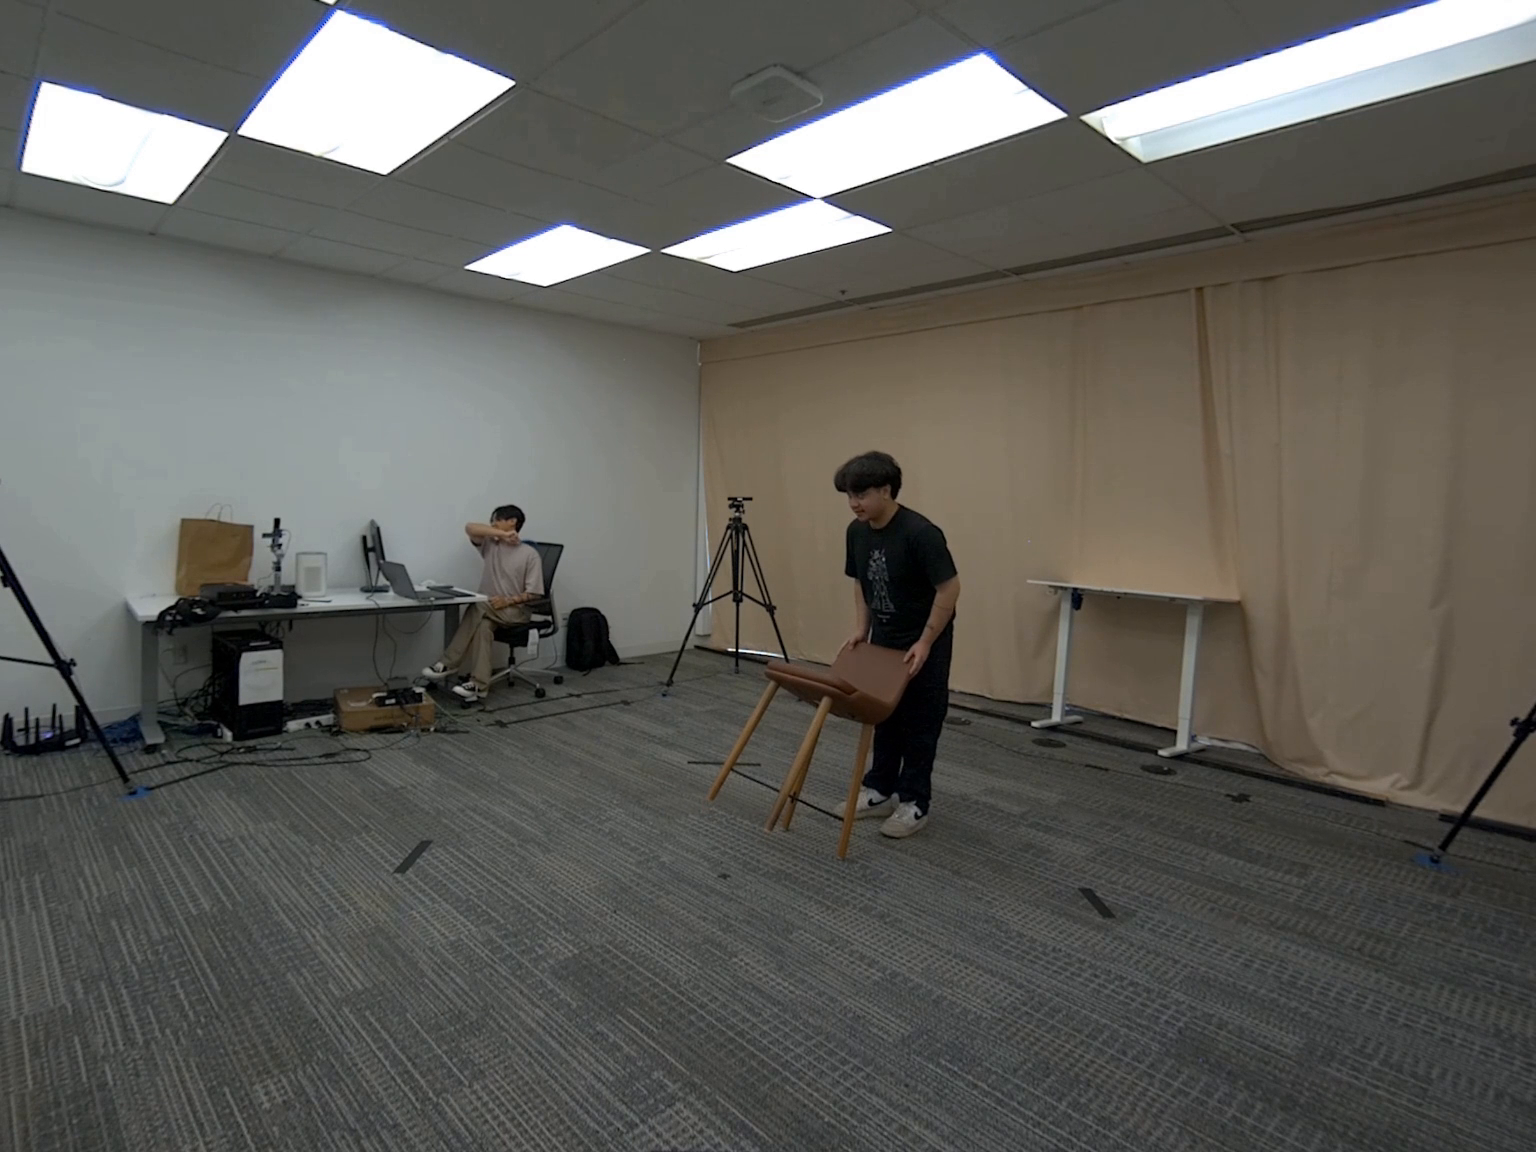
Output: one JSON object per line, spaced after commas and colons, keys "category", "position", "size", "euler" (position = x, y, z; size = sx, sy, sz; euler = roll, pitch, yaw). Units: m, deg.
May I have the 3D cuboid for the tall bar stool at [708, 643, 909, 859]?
{"category": "tall bar stool", "position": [0.193, 0.604, 3.401], "size": [0.454, 0.894, 0.467], "euler": [34, -17, -33]}
